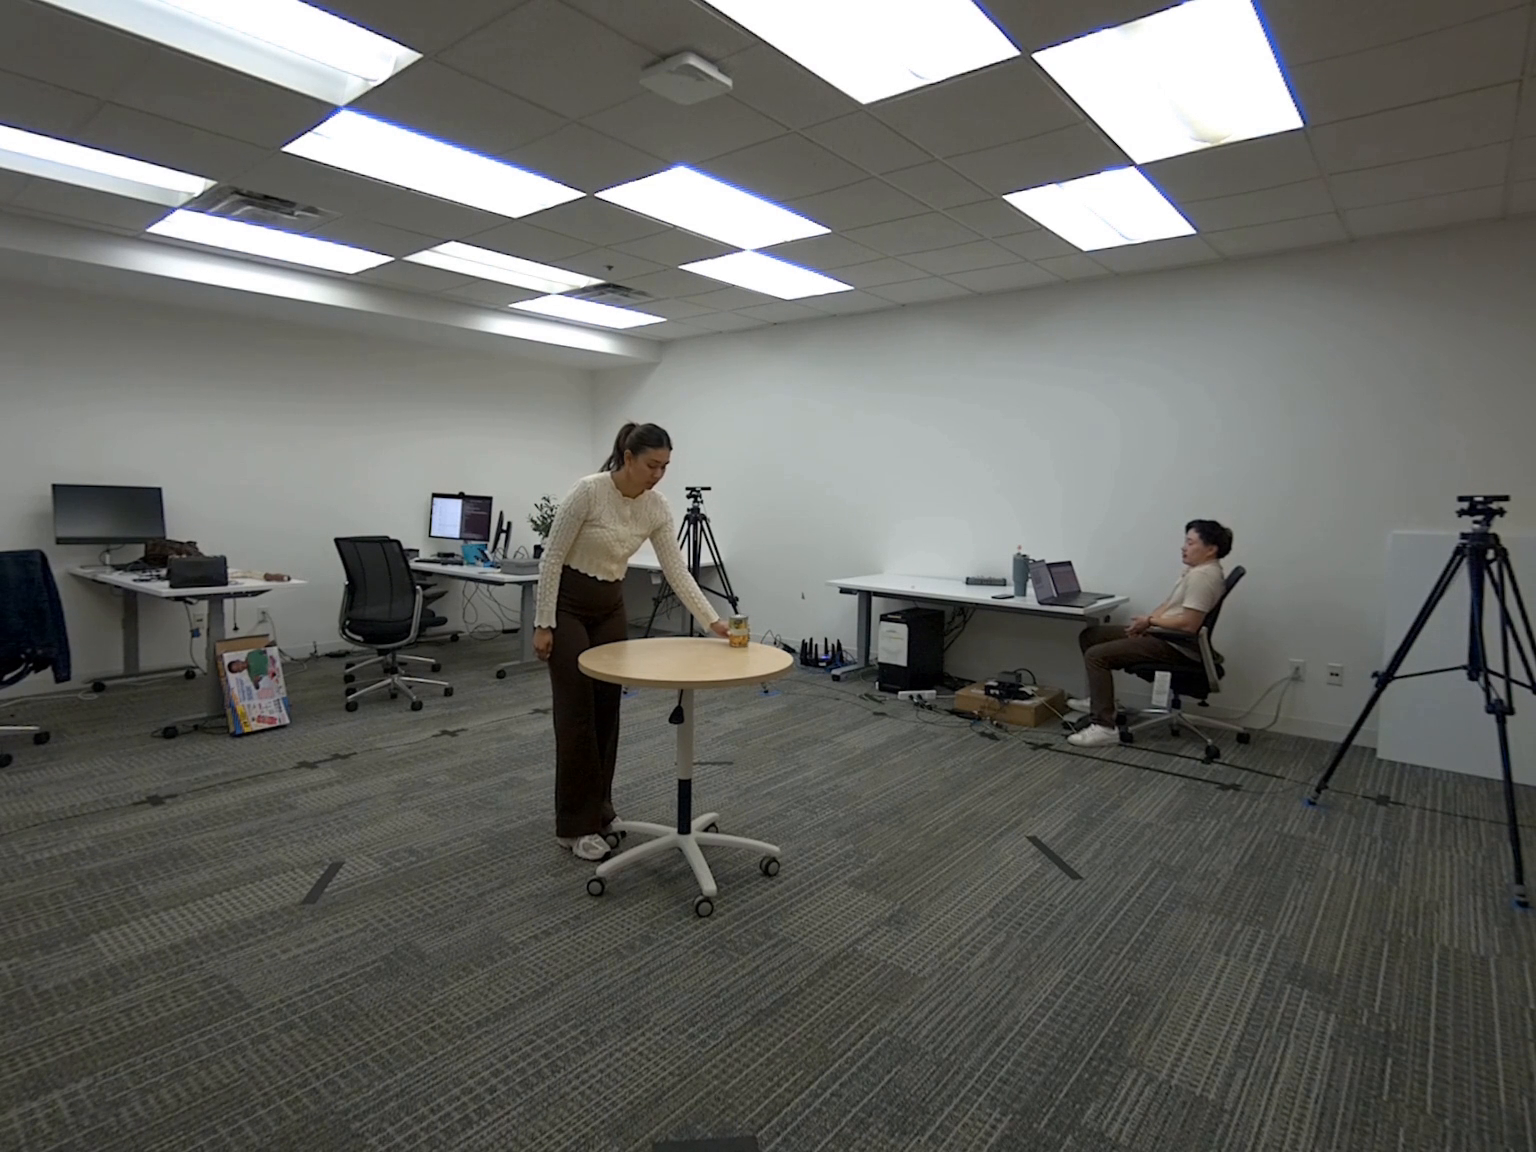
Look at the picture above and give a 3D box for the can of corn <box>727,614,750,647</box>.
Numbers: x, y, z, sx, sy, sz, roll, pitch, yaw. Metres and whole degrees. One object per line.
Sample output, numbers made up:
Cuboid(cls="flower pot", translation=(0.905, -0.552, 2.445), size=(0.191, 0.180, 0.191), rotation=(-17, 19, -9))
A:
Cuboid(cls="can of corn", translation=(-0.130, 0.202, 3.260), size=(0.074, 0.111, 0.074), rotation=(1, 0, -2))
